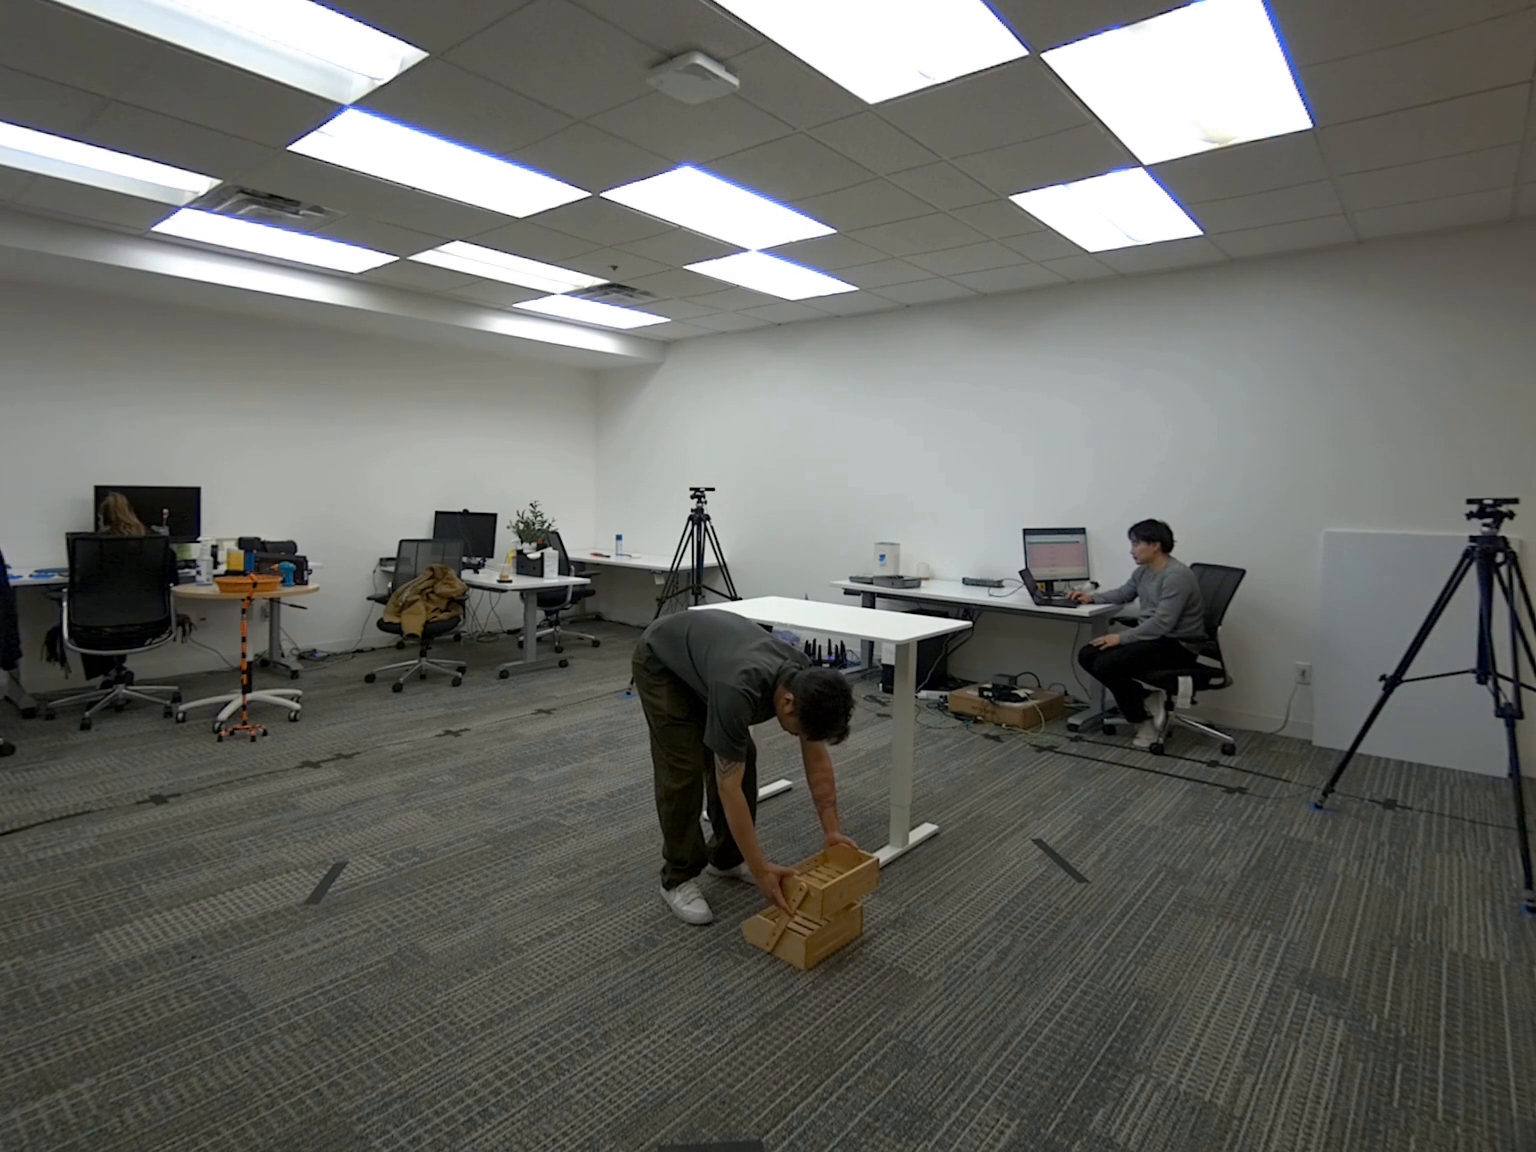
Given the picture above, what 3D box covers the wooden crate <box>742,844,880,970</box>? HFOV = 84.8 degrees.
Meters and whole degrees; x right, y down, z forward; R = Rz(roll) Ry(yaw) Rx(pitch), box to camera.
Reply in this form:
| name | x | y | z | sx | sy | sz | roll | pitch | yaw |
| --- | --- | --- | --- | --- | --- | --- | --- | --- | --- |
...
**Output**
| name | x | y | z | sx | sy | sz | roll | pitch | yaw |
| --- | --- | --- | --- | --- | --- | --- | --- | --- | --- |
| wooden crate | 0.127 | 0.988 | 2.628 | 0.312 | 0.272 | 0.315 | 7 | 6 | 40 |
